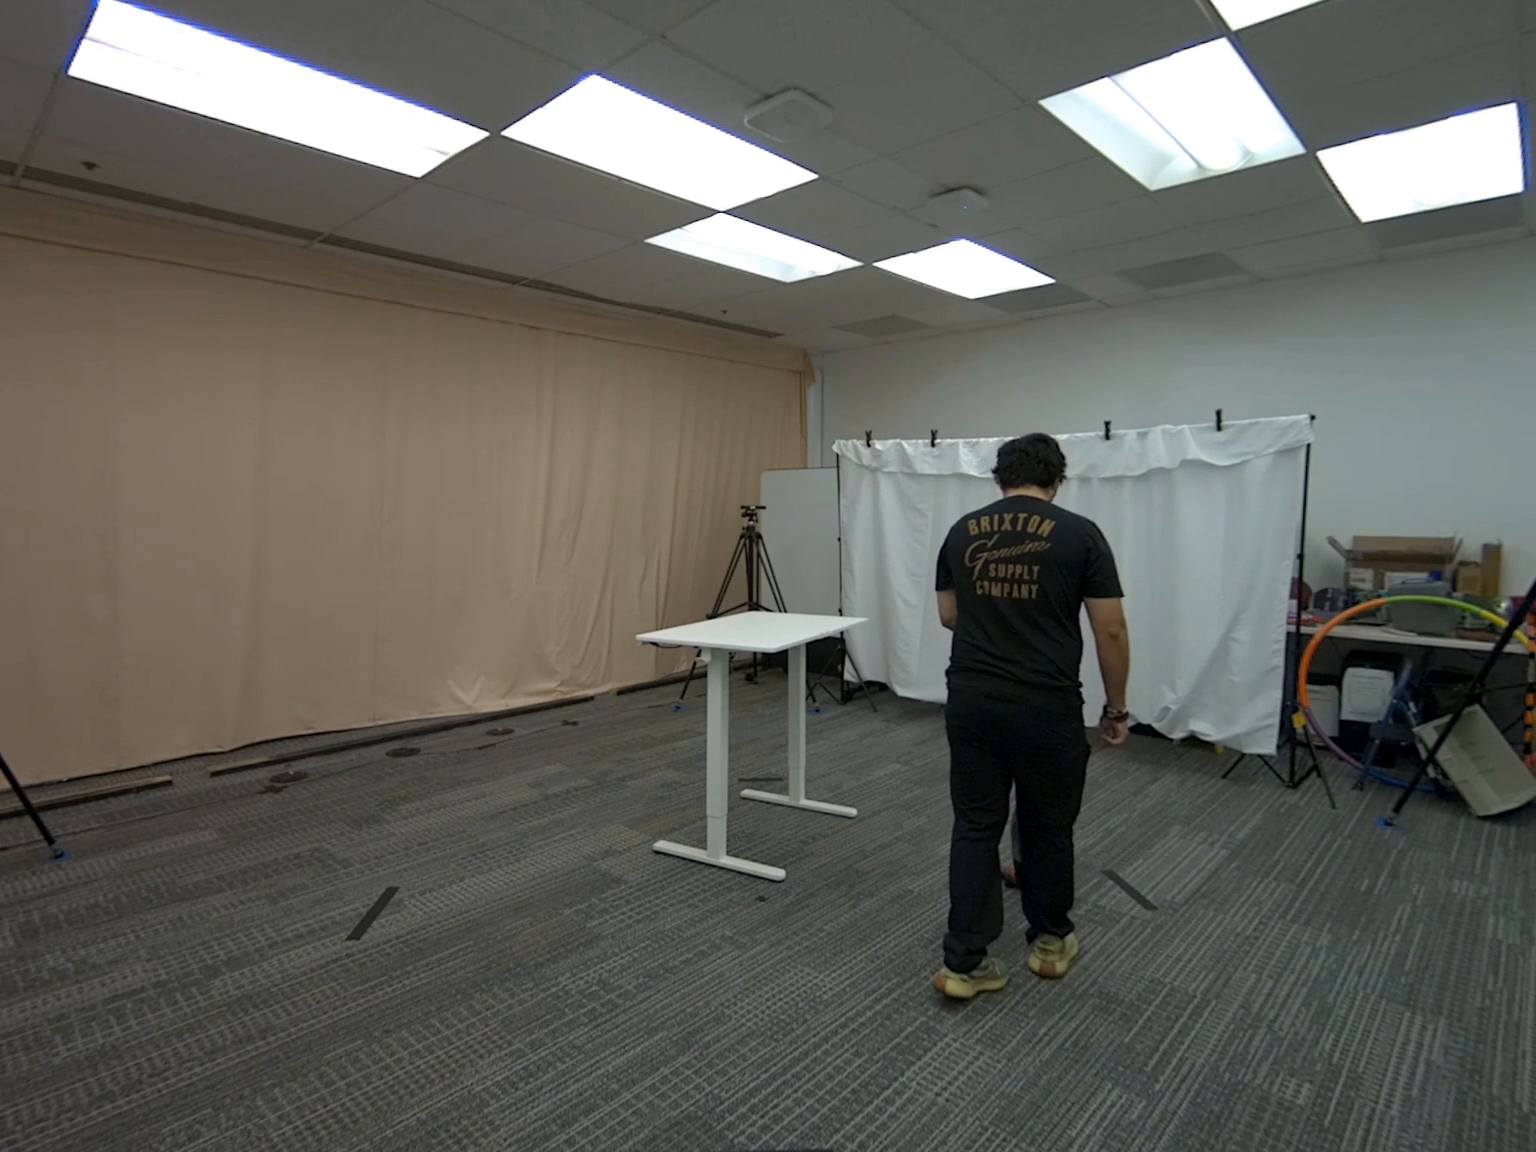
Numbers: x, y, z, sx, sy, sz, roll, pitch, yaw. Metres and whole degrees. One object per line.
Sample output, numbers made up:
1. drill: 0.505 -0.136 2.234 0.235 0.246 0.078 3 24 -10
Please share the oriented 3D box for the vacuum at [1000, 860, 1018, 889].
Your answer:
1. vacuum: 0.905 0.685 2.860 0.257 1.028 0.144 1 31 15
